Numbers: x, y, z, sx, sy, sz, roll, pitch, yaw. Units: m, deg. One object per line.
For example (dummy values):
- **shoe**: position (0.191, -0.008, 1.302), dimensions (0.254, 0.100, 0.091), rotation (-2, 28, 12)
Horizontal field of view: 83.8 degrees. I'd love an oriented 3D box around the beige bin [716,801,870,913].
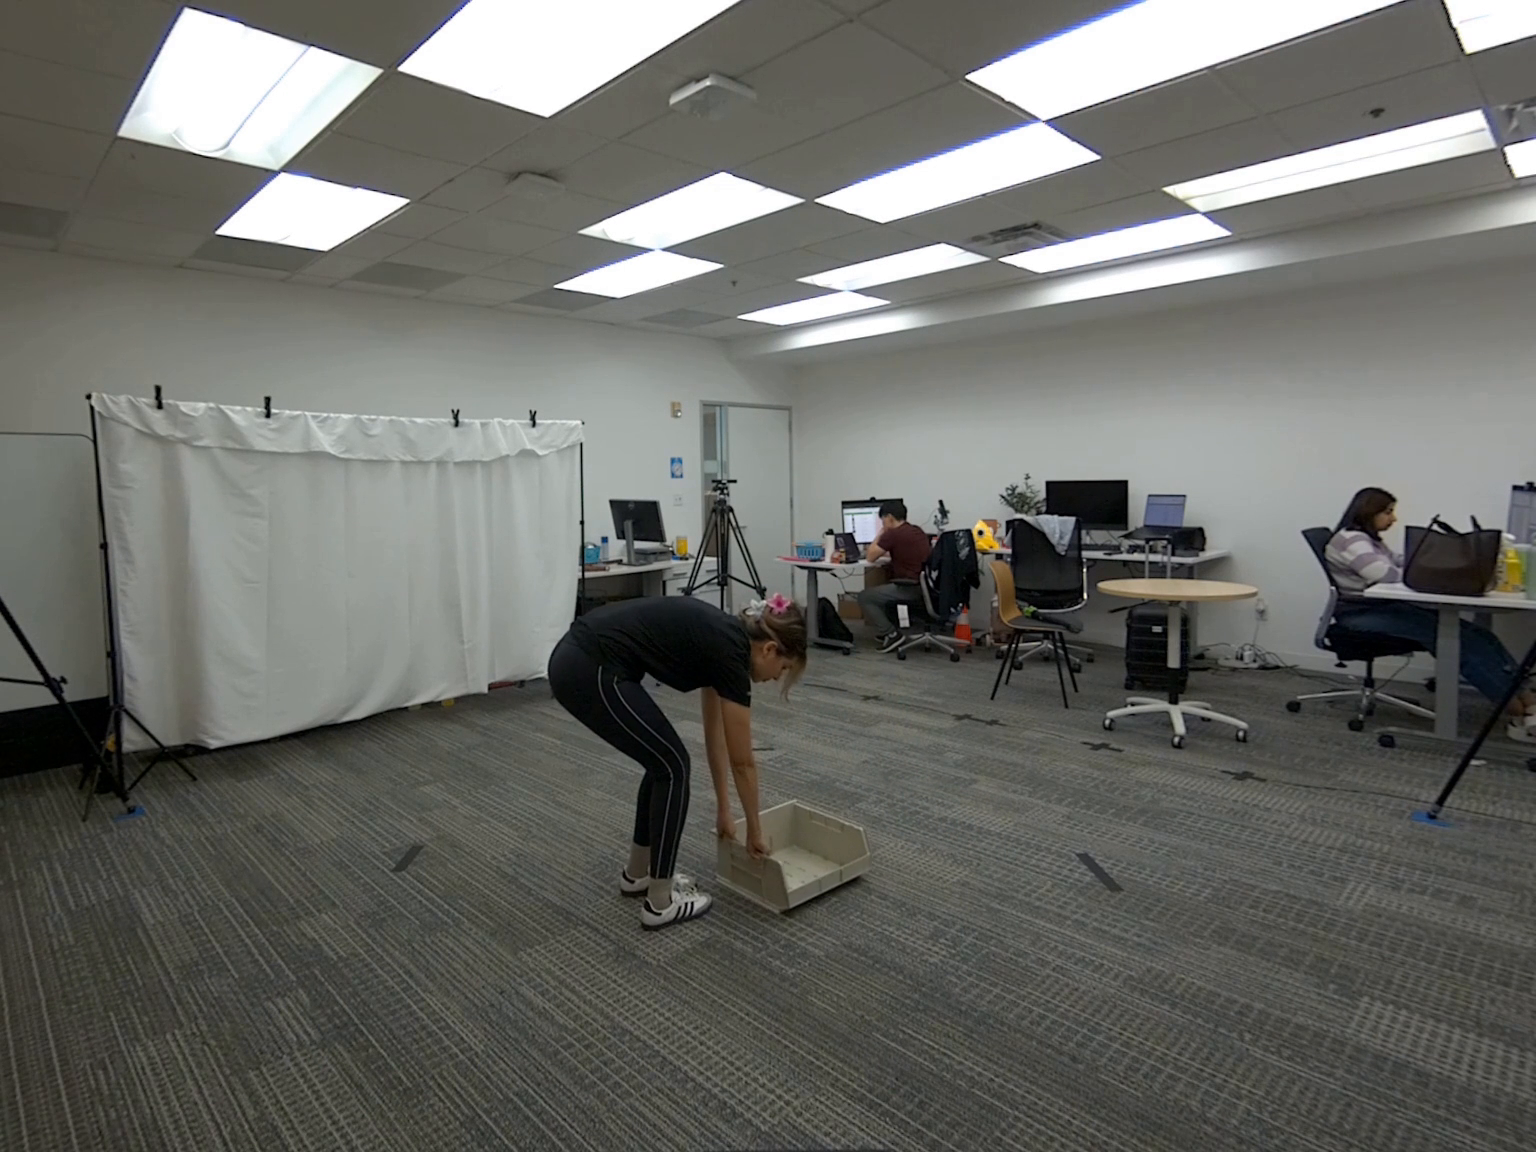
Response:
- **beige bin**: position (0.090, 0.972, 2.975), dimensions (0.411, 0.188, 0.389), rotation (-7, 8, -41)
